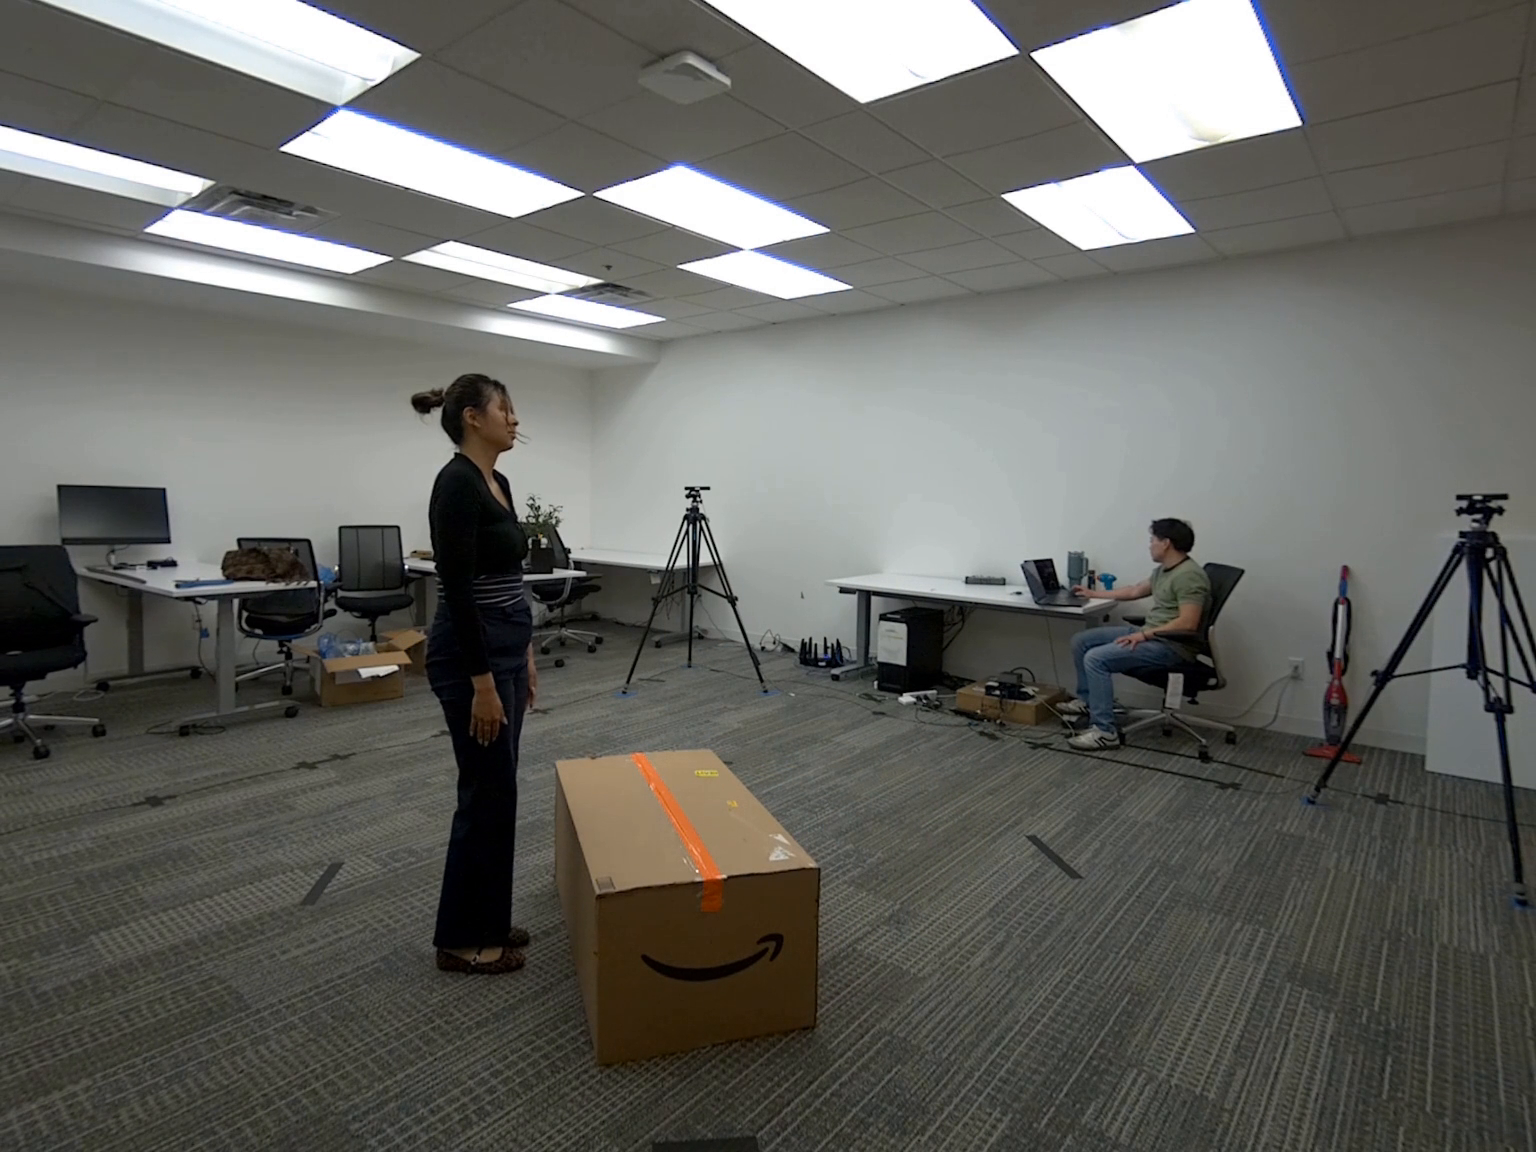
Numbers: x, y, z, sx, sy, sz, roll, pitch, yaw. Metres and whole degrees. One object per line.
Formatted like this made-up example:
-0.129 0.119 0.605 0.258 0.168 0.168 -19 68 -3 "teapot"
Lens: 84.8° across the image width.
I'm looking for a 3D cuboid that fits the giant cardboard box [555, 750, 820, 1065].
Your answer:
-0.318 0.901 2.589 0.567 0.424 1.049 0 5 -19 "giant cardboard box"
